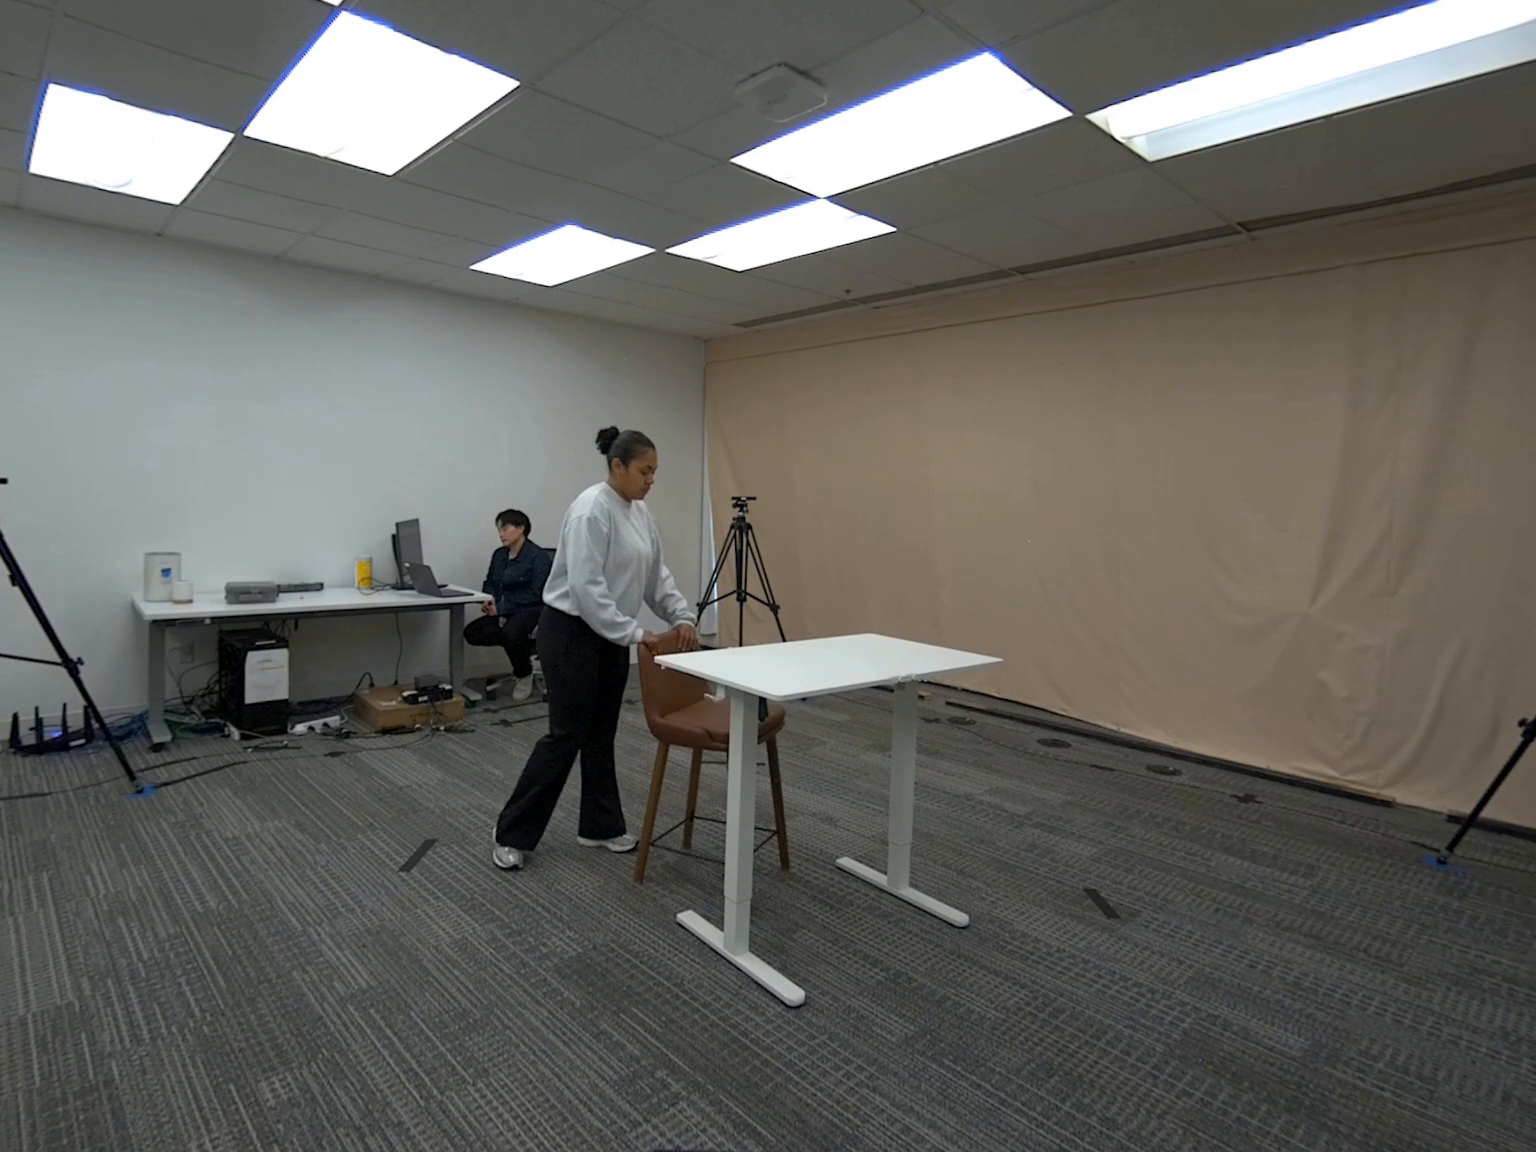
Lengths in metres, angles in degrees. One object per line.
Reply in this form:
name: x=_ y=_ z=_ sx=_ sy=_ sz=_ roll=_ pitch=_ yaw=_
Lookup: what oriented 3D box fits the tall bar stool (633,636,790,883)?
tall bar stool: x=-0.215 y=0.669 z=3.078 sx=0.477 sy=0.888 sz=0.448 roll=0 pitch=3 yaw=27
